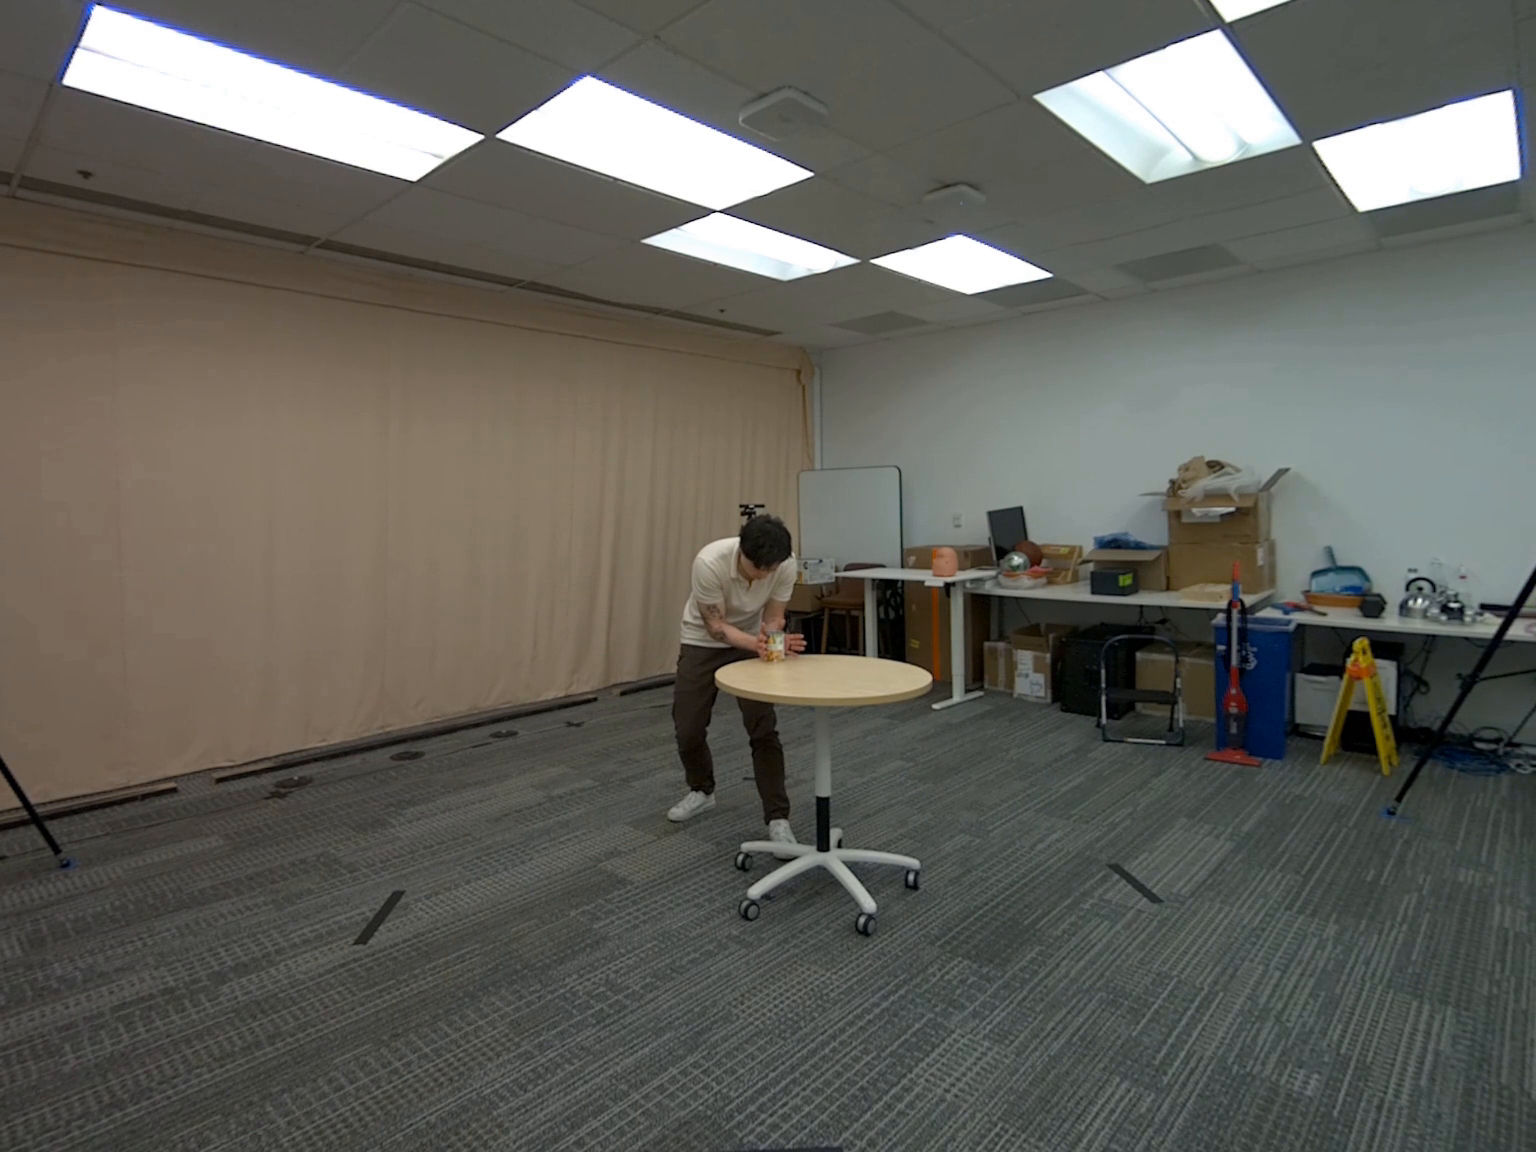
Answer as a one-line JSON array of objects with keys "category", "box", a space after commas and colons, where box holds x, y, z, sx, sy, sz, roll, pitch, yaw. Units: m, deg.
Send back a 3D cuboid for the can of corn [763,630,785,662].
[{"category": "can of corn", "box": [0.029, 0.273, 3.271, 0.074, 0.111, 0.074, -6, 3, -2]}]
